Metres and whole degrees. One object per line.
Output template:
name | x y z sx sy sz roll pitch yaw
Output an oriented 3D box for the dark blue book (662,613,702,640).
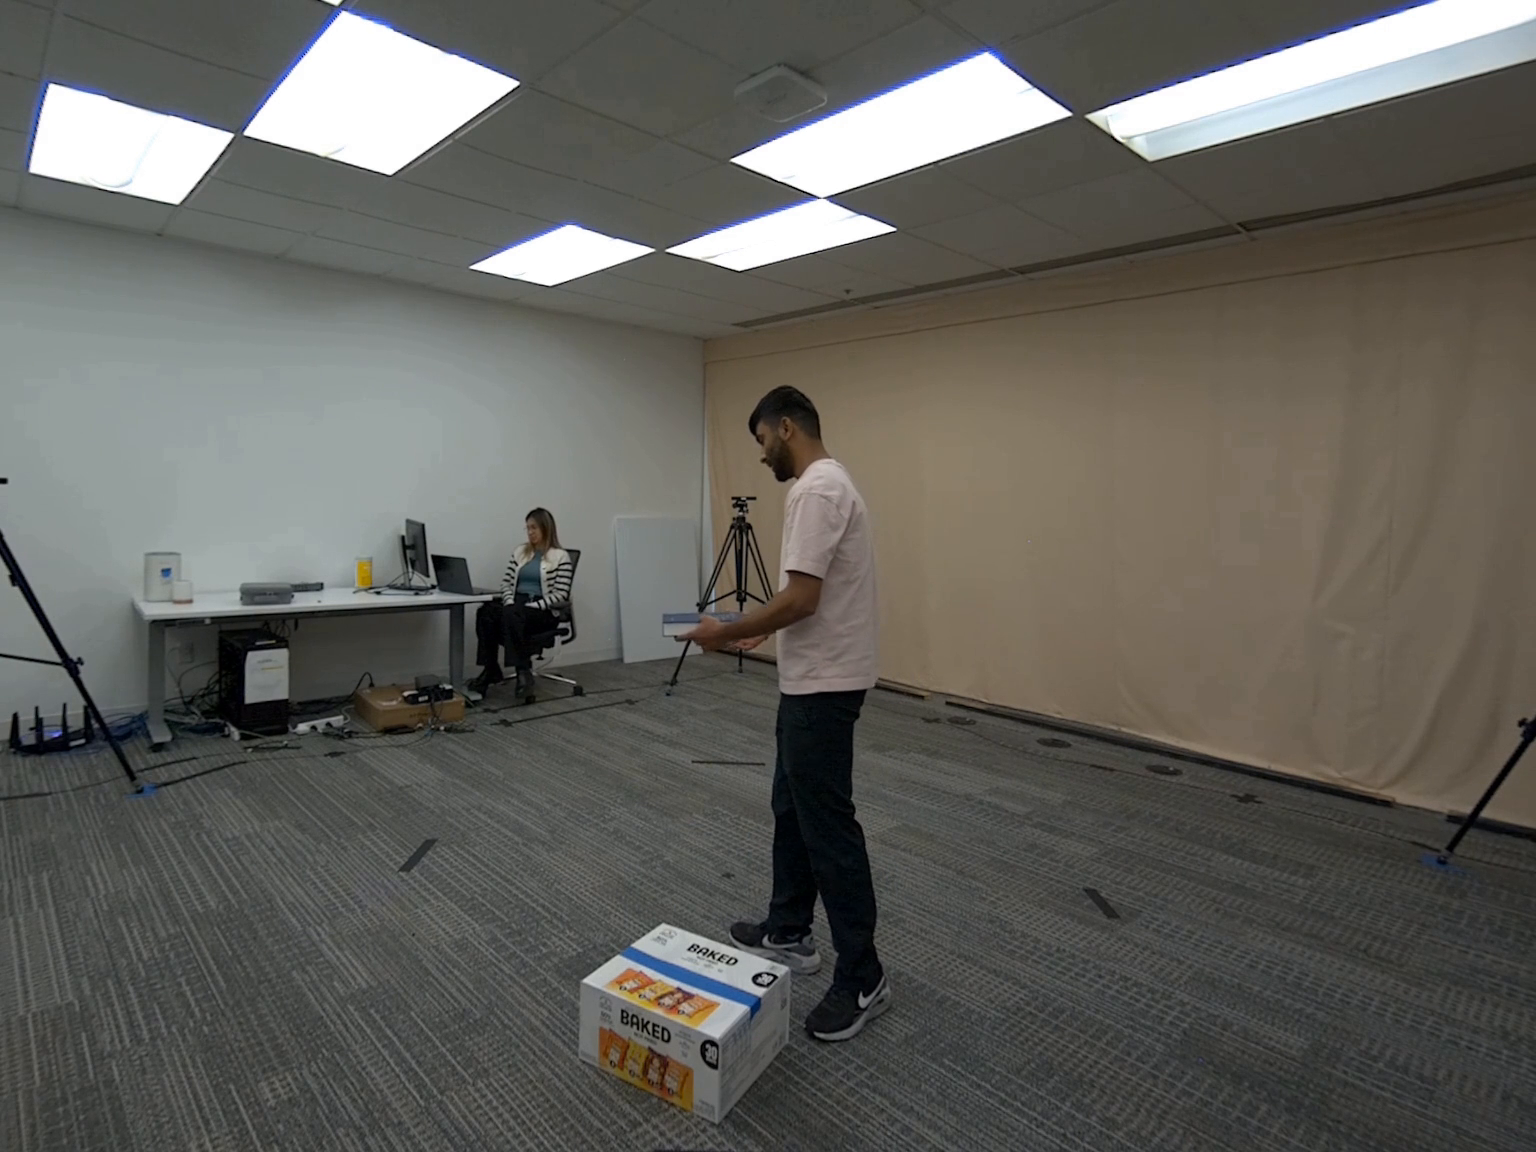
dark blue book | -0.197 0.141 2.466 0.244 0.045 0.165 0 8 -4
